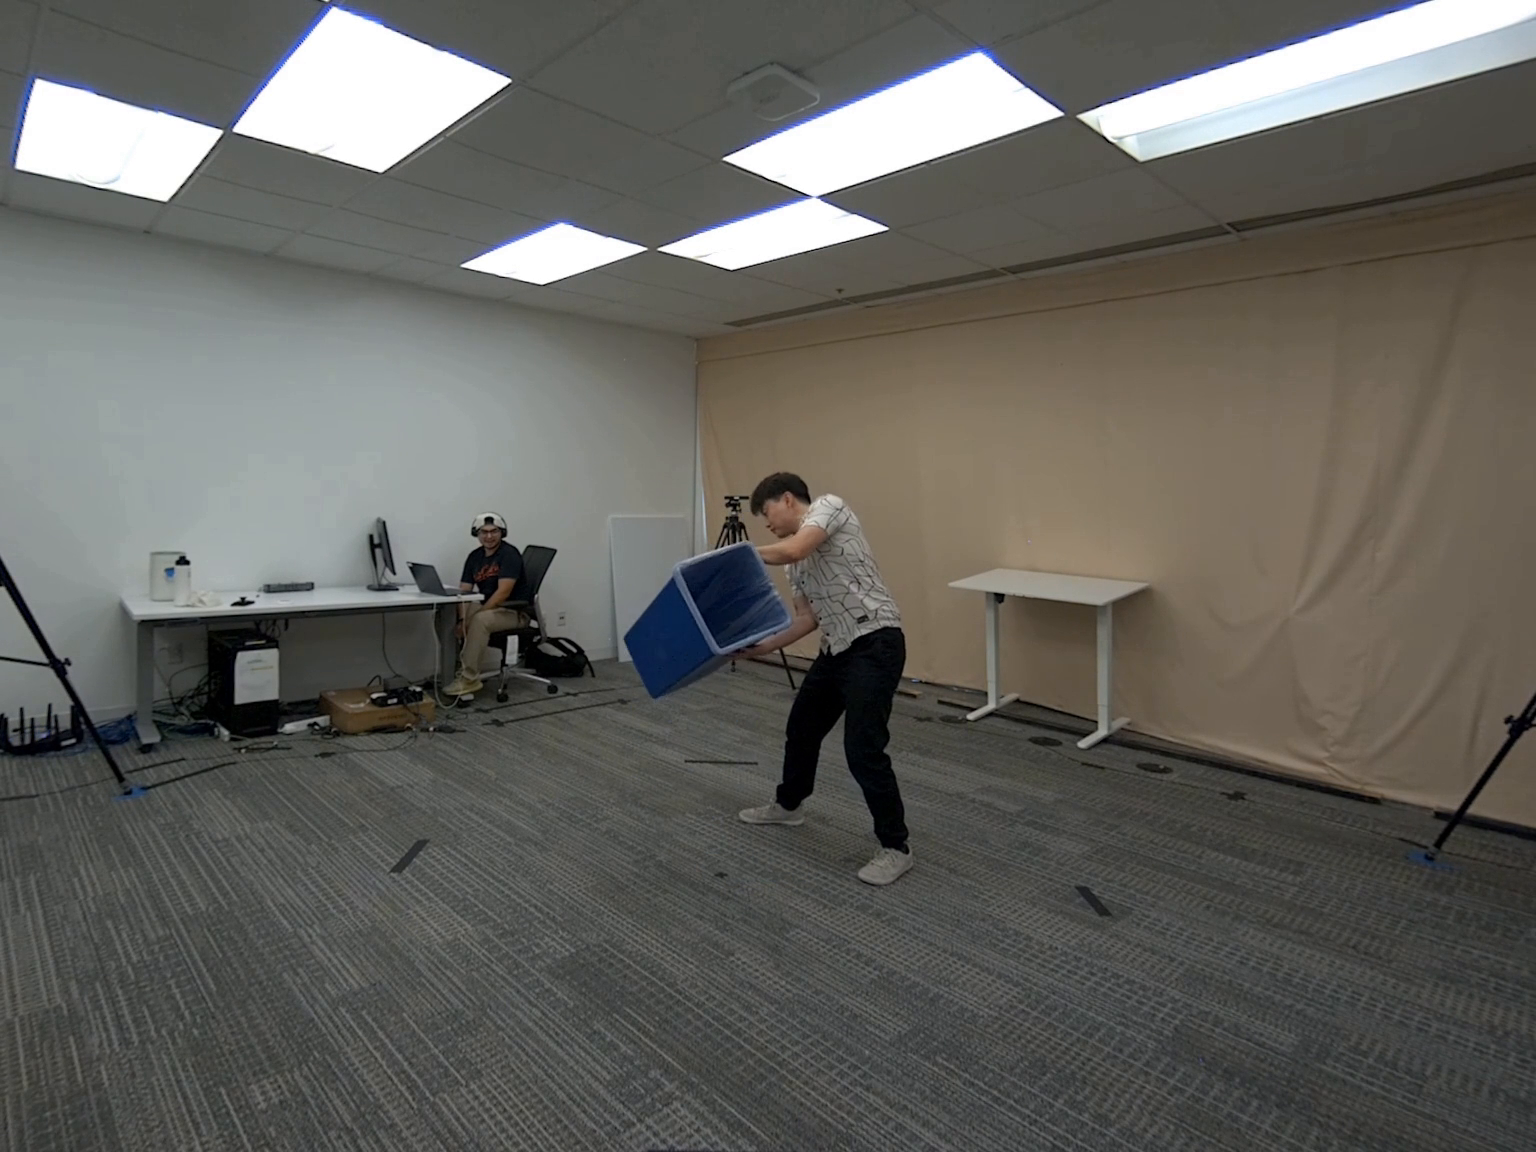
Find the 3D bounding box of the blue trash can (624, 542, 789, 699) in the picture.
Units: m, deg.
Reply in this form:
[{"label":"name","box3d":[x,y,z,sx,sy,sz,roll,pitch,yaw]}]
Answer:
[{"label":"blue trash can","box3d":[-0.292,0.212,3.357,0.373,0.378,0.715,-21,-12,-36]}]
